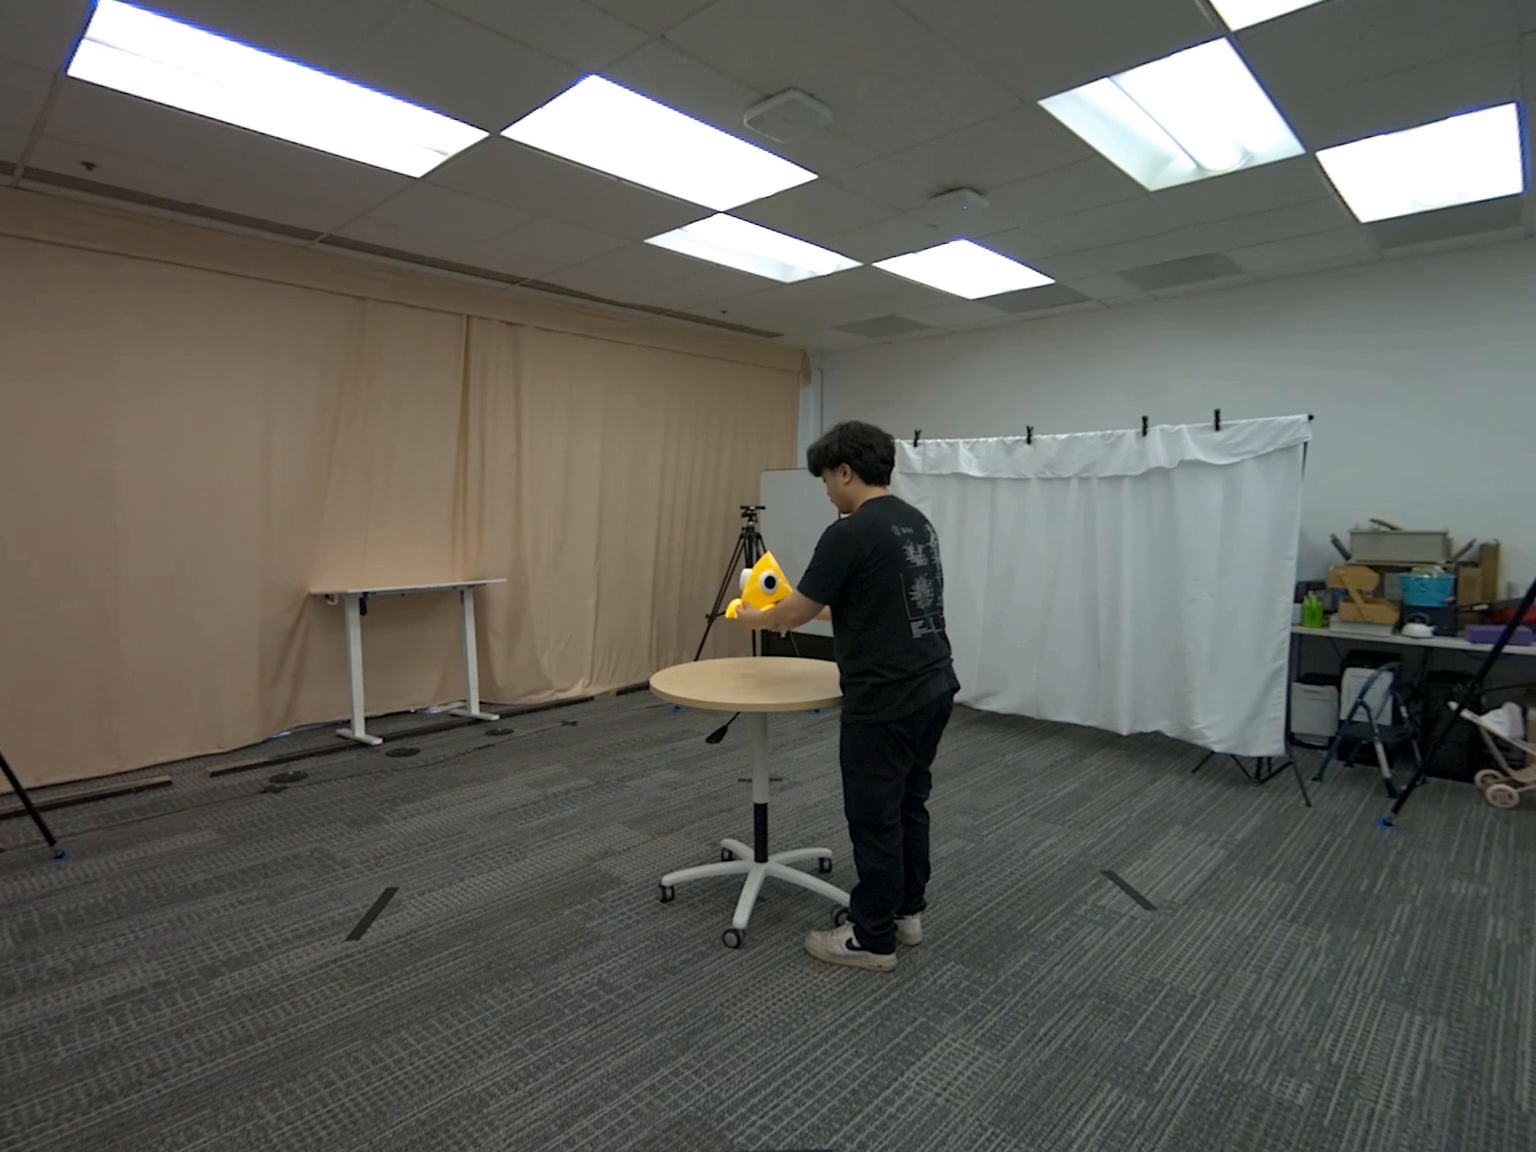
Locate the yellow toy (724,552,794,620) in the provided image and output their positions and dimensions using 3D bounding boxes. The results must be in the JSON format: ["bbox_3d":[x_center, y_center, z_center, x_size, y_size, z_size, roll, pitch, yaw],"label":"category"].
[{"bbox_3d":[-0.033,0.030,2.959,0.212,0.230,0.187,6,7,39],"label":"yellow toy"}]
